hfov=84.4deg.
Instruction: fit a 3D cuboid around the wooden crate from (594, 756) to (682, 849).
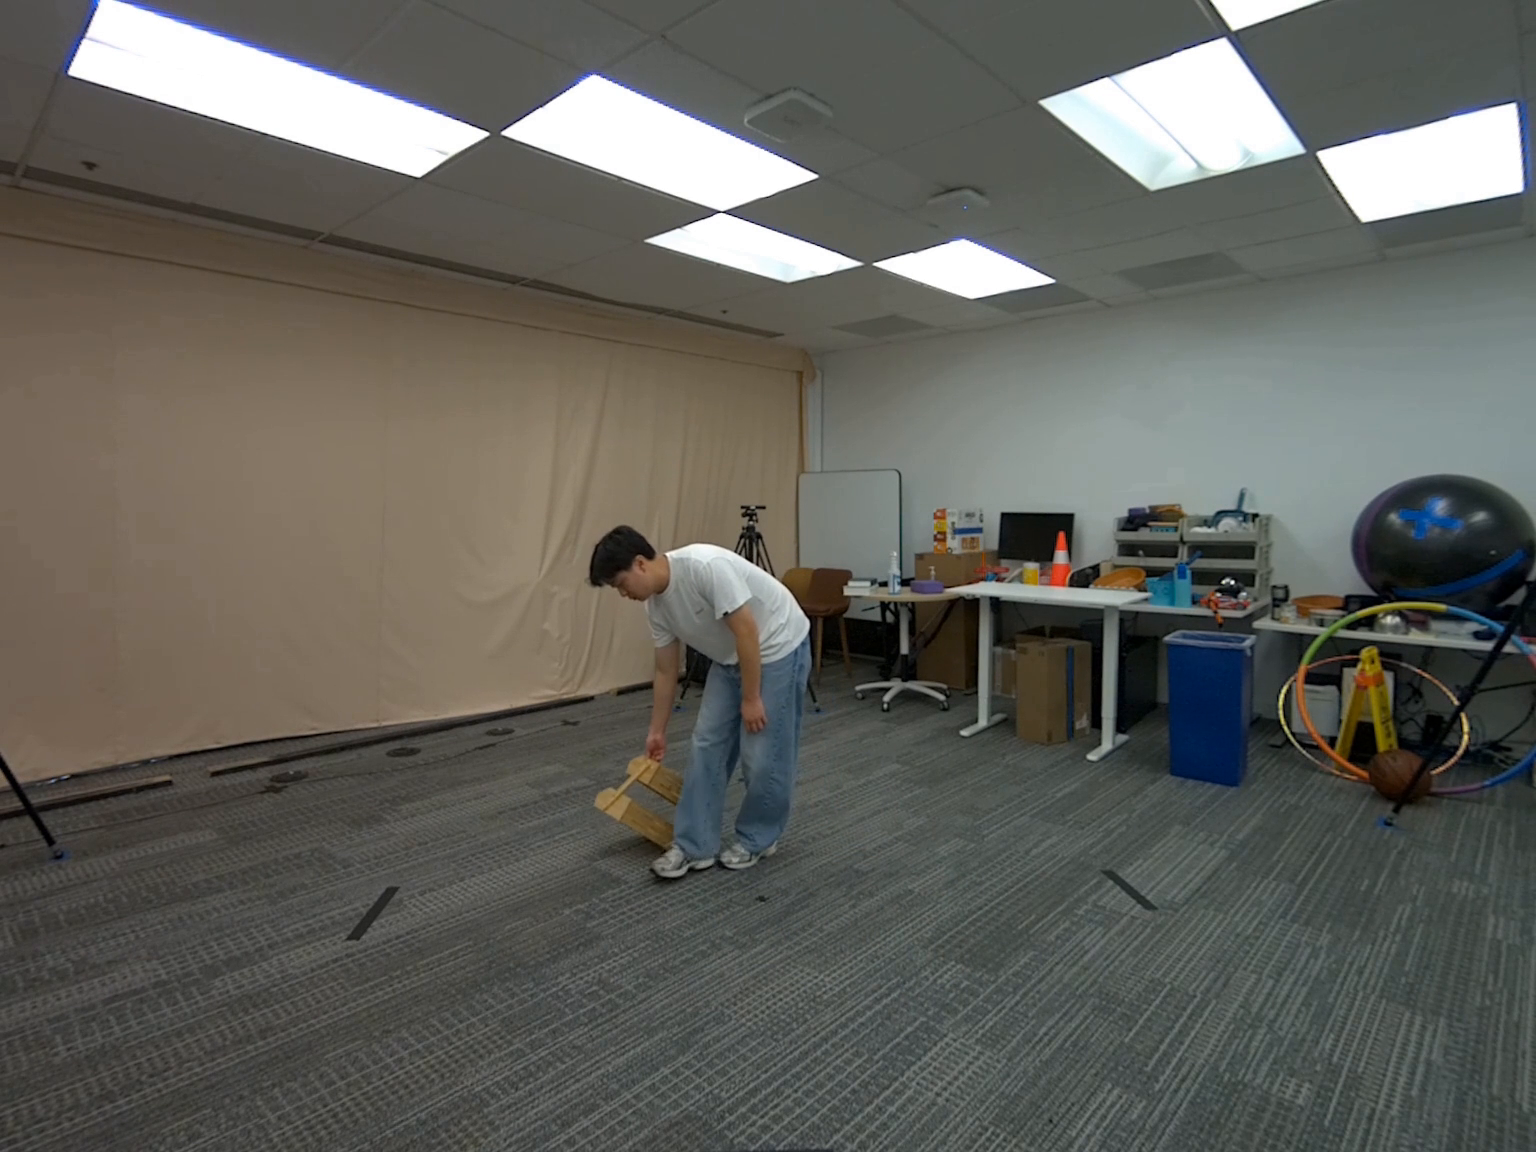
[{"bbox_3d":[-0.472,0.913,3.425,0.315,0.273,0.311,40,-20,-29],"label":"wooden crate"}]
